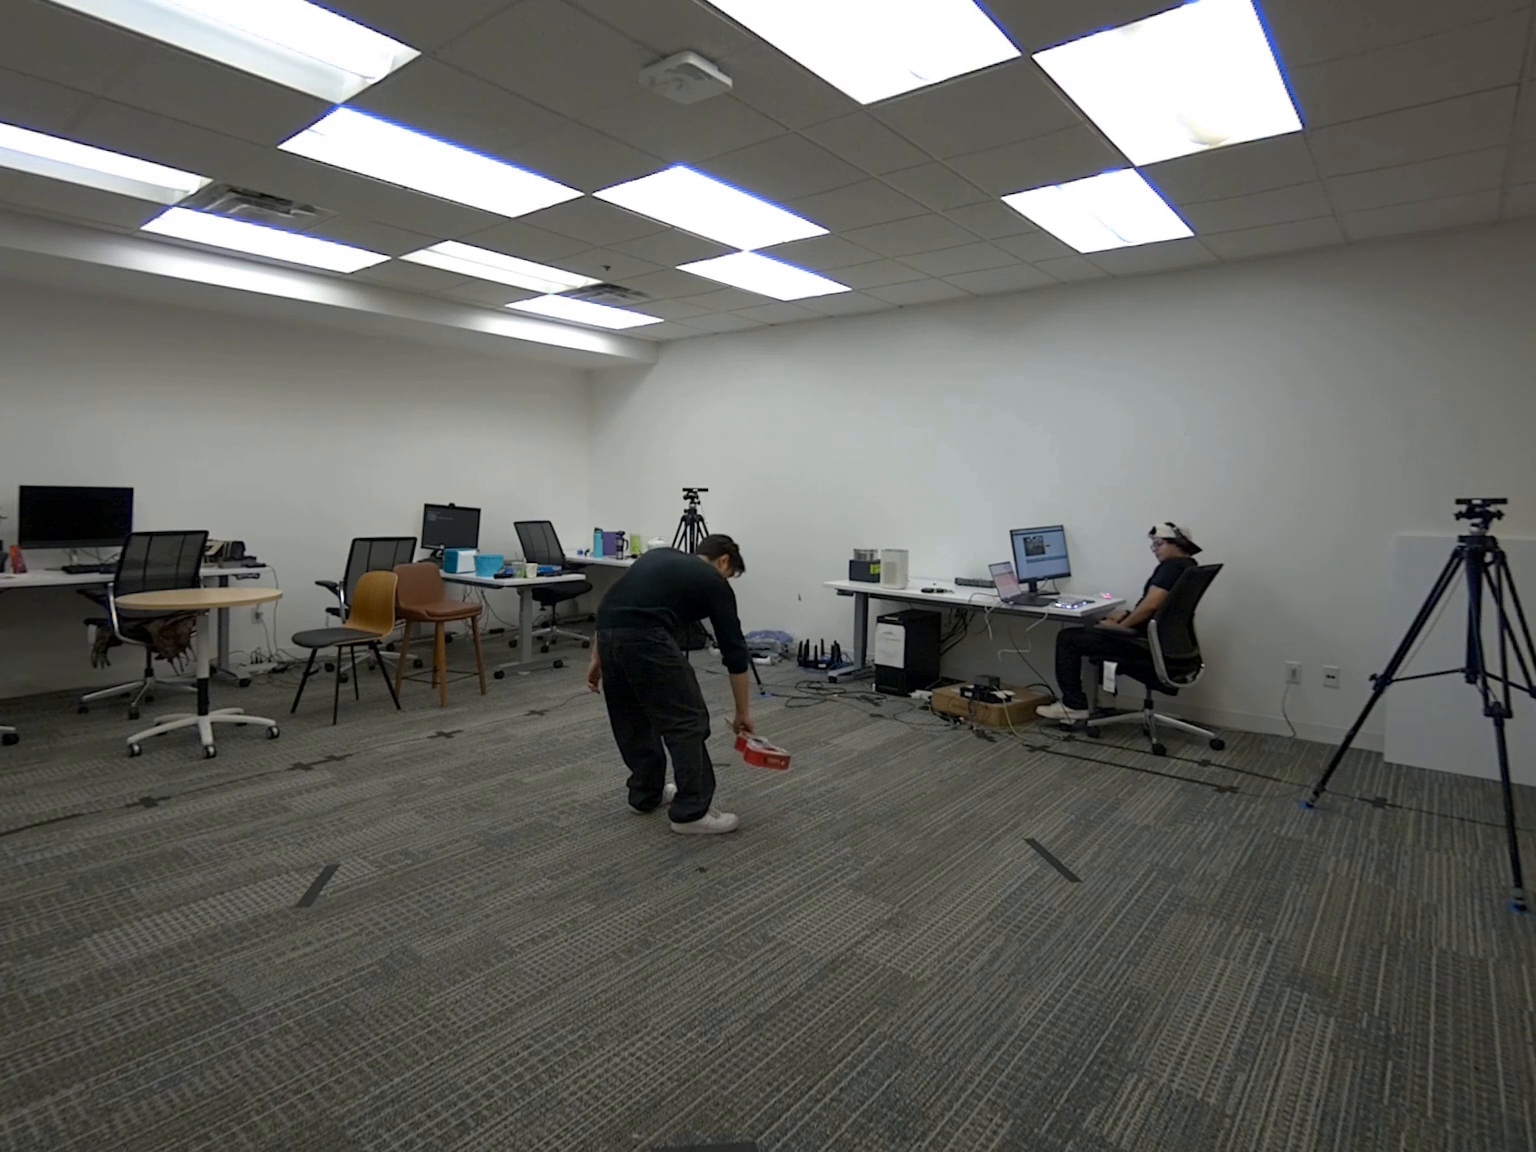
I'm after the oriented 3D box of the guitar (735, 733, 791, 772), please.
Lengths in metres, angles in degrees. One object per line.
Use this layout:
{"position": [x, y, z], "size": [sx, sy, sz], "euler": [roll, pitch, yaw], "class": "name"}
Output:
{"position": [-0.064, 0.707, 3.616], "size": [0.189, 0.070, 0.508], "euler": [12, 2, -17], "class": "guitar"}
